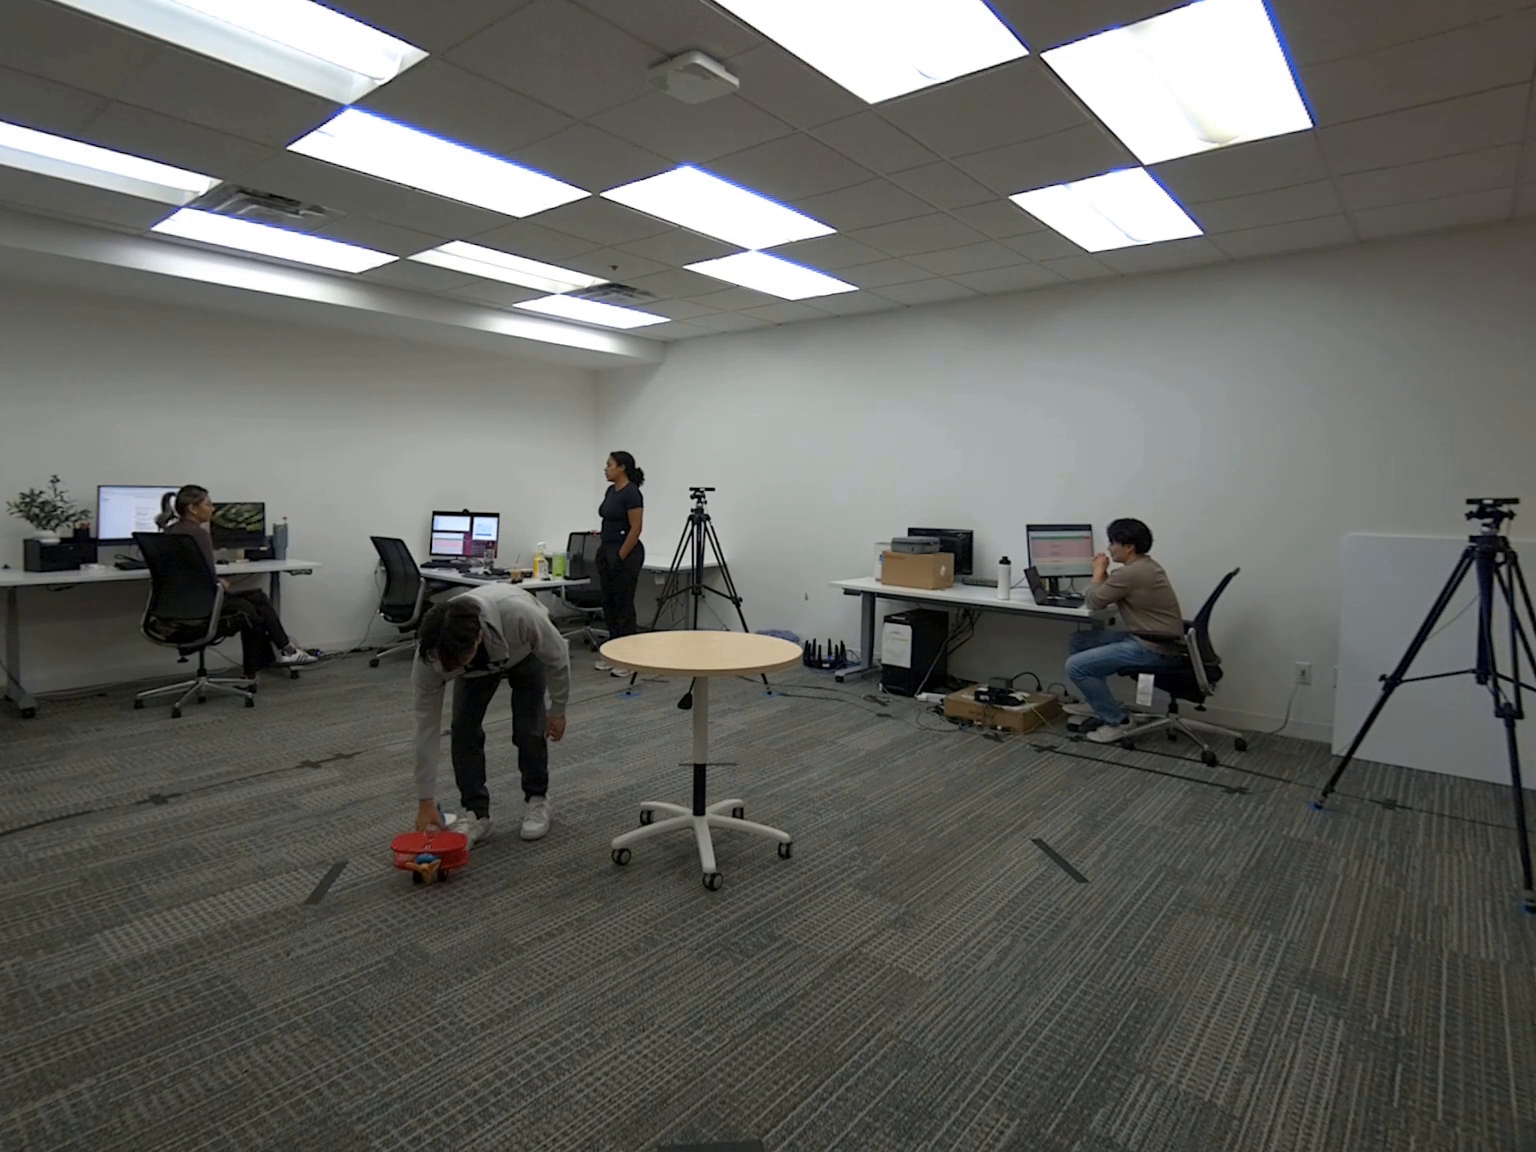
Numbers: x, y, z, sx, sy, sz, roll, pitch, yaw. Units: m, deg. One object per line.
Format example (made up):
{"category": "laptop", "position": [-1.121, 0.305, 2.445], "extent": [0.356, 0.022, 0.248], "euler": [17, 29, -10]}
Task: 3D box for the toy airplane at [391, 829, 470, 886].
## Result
{"category": "toy airplane", "position": [-1.213, 0.951, 3.005], "extent": [0.247, 0.153, 0.270], "euler": [-19, 49, -26]}
